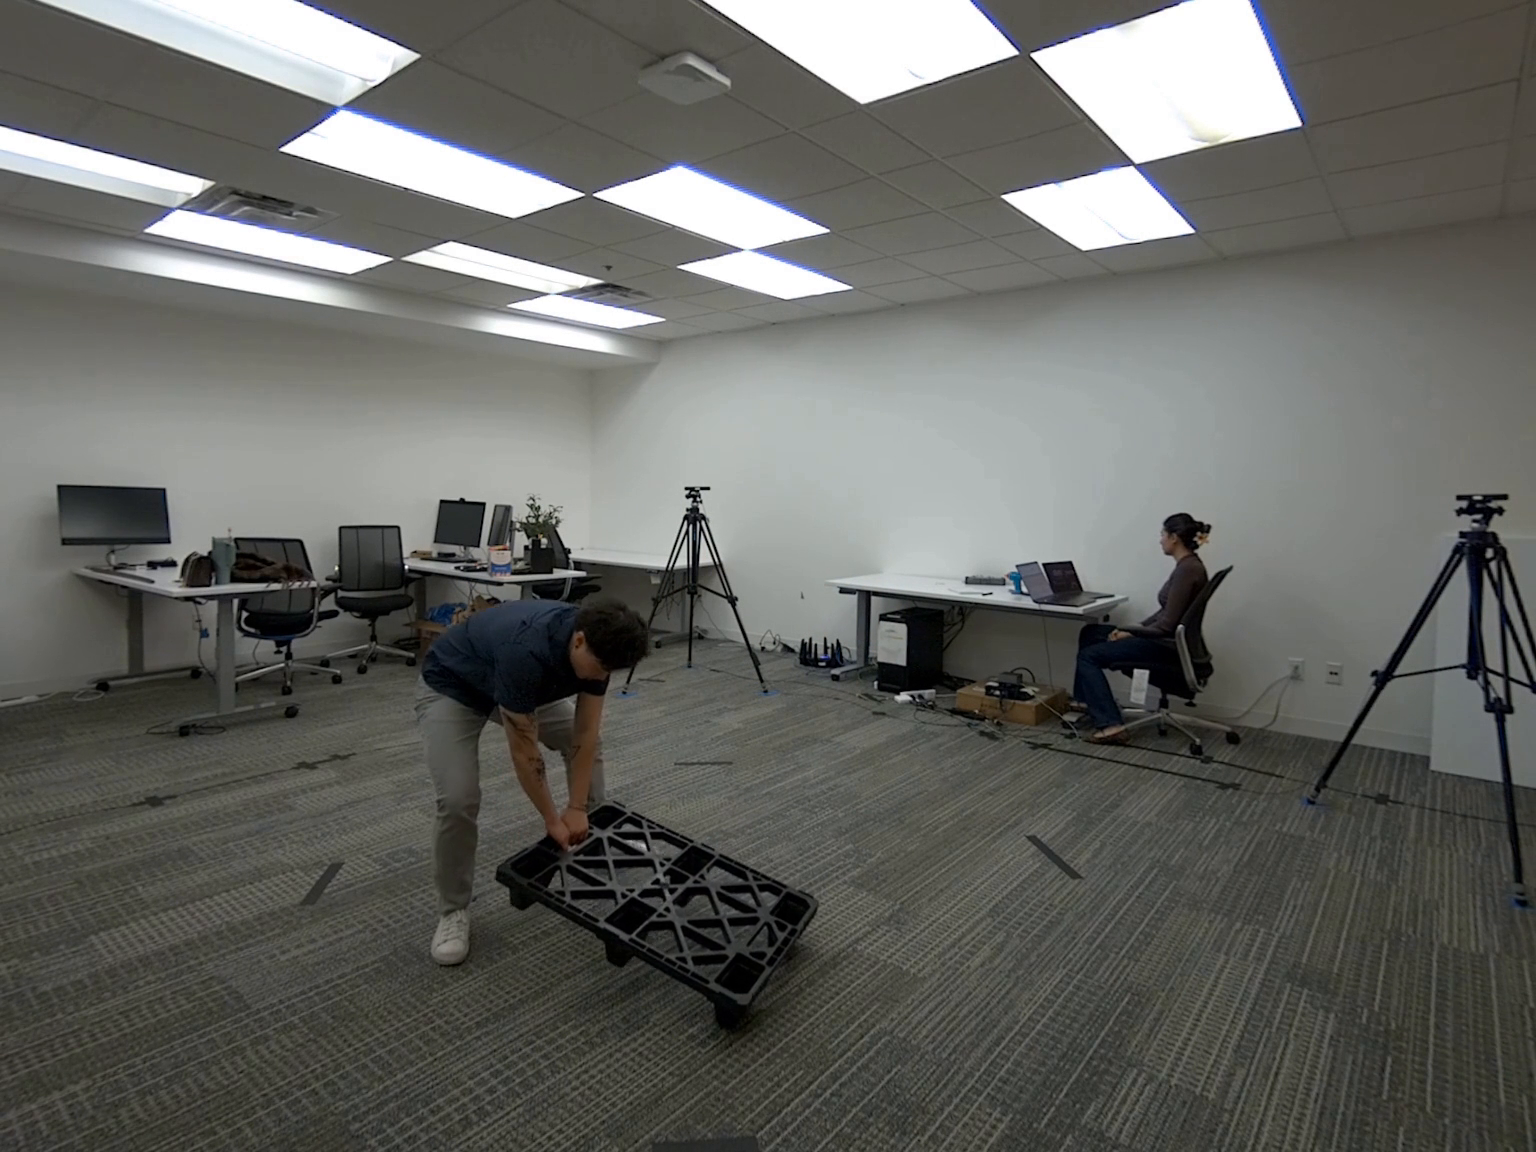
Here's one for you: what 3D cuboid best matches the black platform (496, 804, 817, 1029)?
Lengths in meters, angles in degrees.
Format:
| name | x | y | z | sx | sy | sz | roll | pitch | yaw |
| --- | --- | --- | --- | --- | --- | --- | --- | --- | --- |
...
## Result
| name | x | y | z | sx | sy | sz | roll | pitch | yaw |
| --- | --- | --- | --- | --- | --- | --- | --- | --- | --- |
| black platform | -0.328 | 0.972 | 2.527 | 0.829 | 0.142 | 0.592 | 18 | 11 | 22 |
